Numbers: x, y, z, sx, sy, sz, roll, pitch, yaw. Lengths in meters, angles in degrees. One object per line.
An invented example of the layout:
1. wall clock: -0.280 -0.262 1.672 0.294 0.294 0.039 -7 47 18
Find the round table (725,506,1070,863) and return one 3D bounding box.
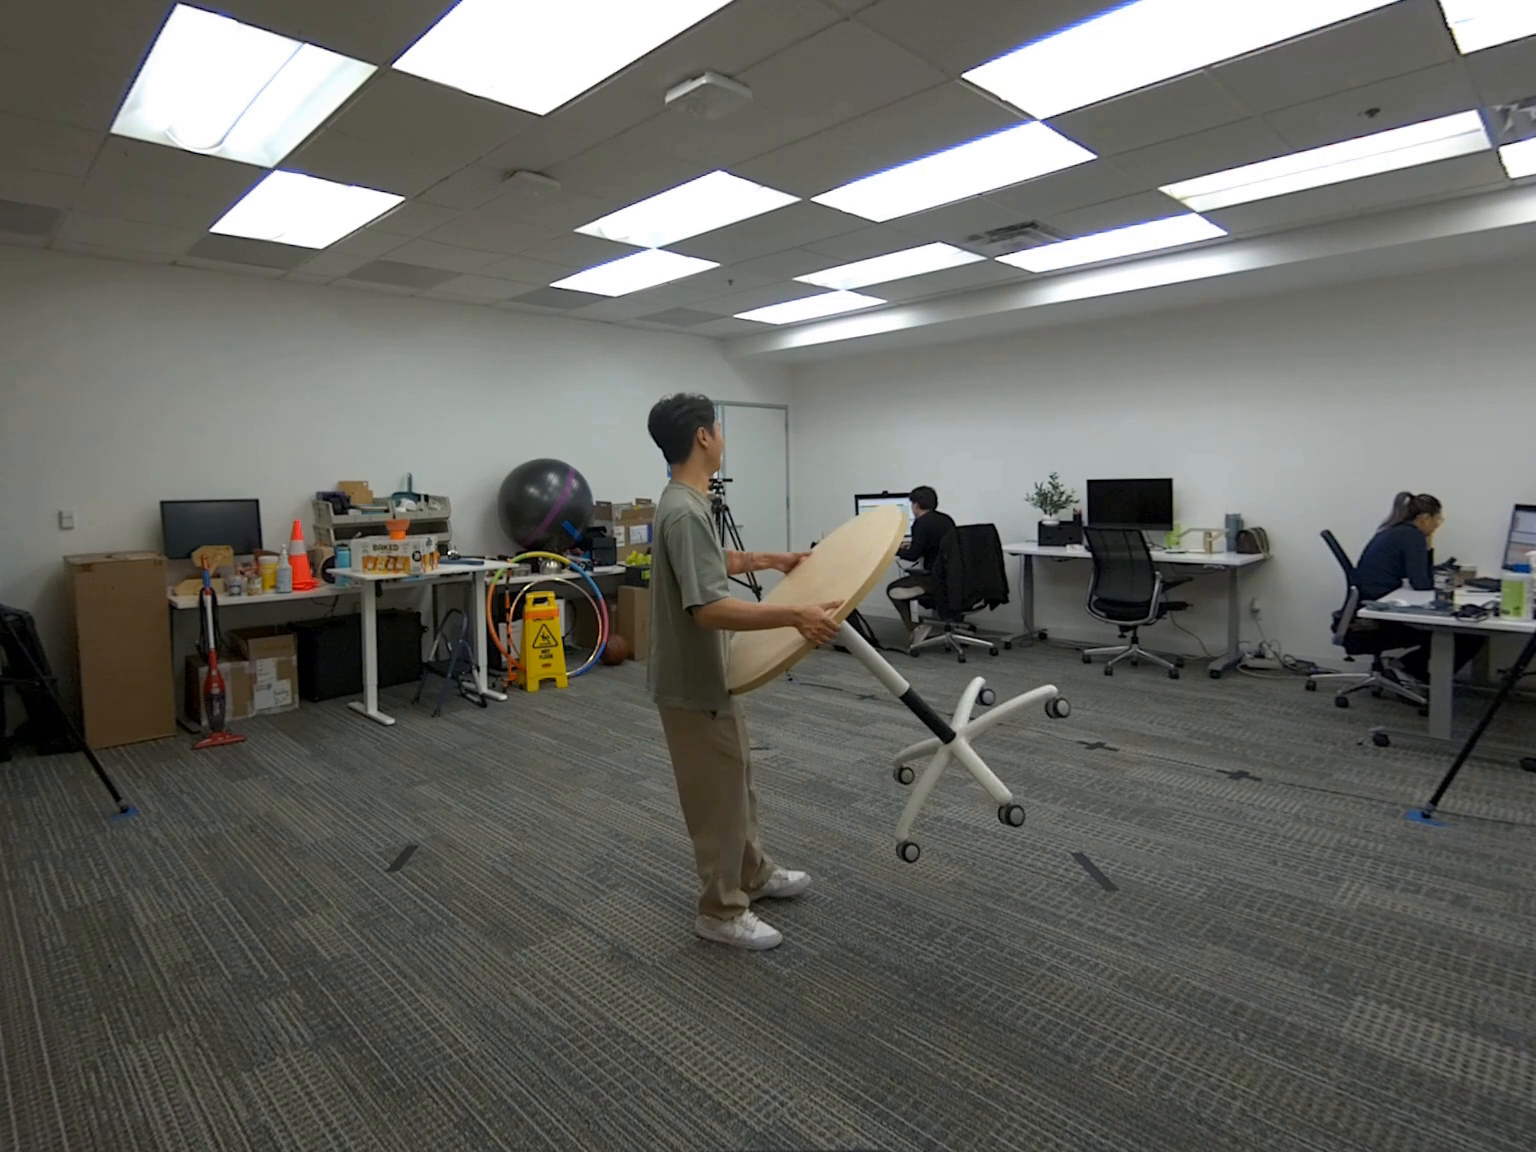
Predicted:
1. round table: 0.385 0.332 2.644 0.785 0.778 0.793 -44 9 6
